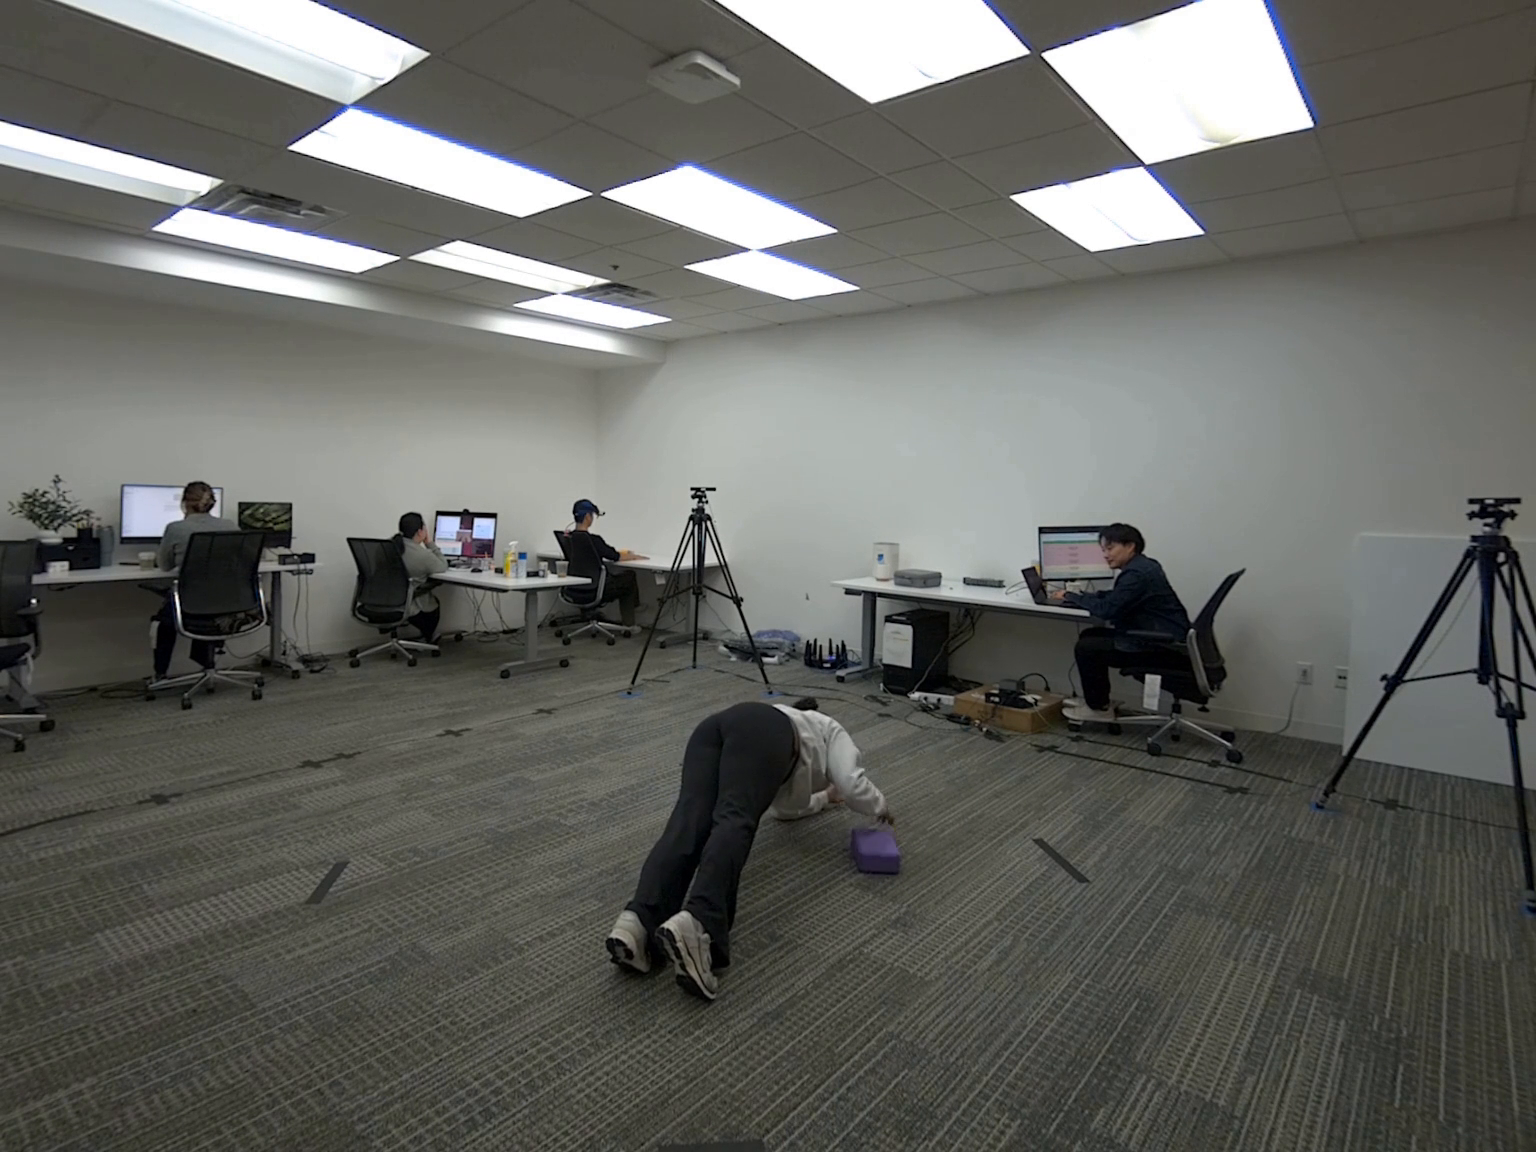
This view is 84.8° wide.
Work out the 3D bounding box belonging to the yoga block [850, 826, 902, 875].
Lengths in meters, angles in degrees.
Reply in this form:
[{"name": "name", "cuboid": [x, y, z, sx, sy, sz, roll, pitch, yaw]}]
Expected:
[{"name": "yoga block", "cuboid": [0.386, 1.026, 3.213, 0.149, 0.076, 0.230, 2, 5, -2]}]
